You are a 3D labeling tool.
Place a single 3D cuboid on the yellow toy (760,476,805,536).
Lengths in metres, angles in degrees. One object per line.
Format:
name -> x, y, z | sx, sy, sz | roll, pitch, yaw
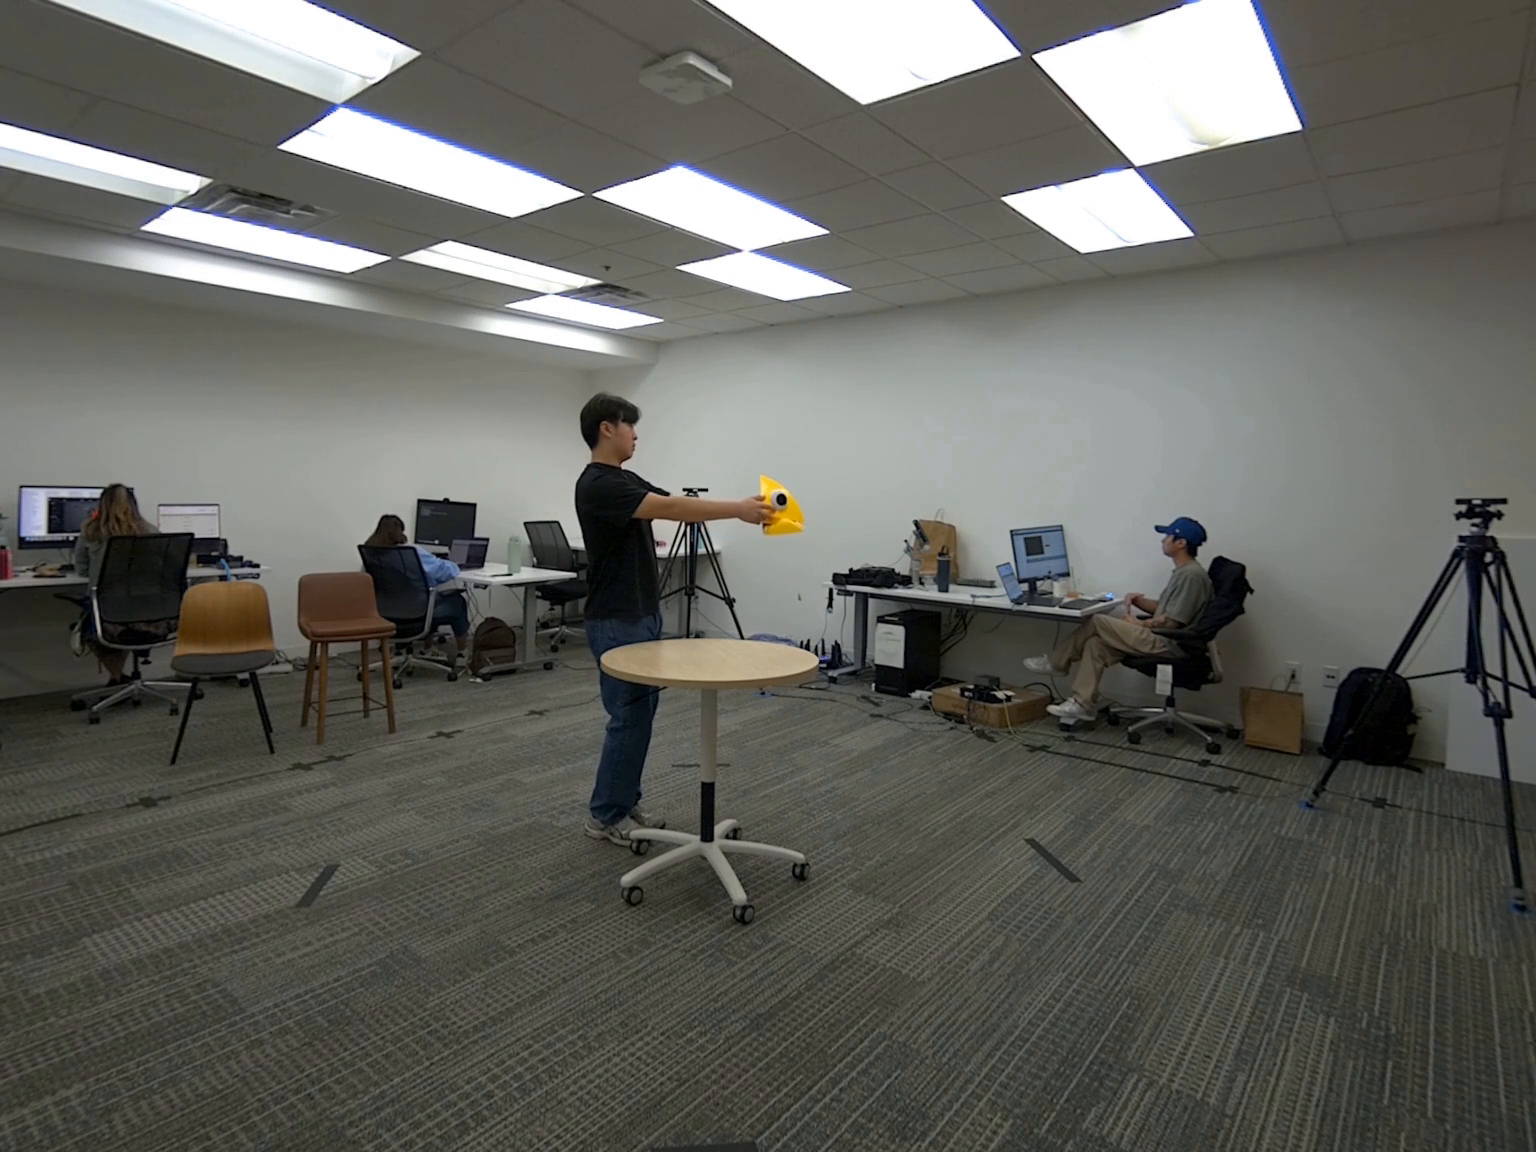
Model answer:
yellow toy -> 0.029, -0.293, 3.336 | 0.194, 0.229, 0.205 | -5, 5, 3
